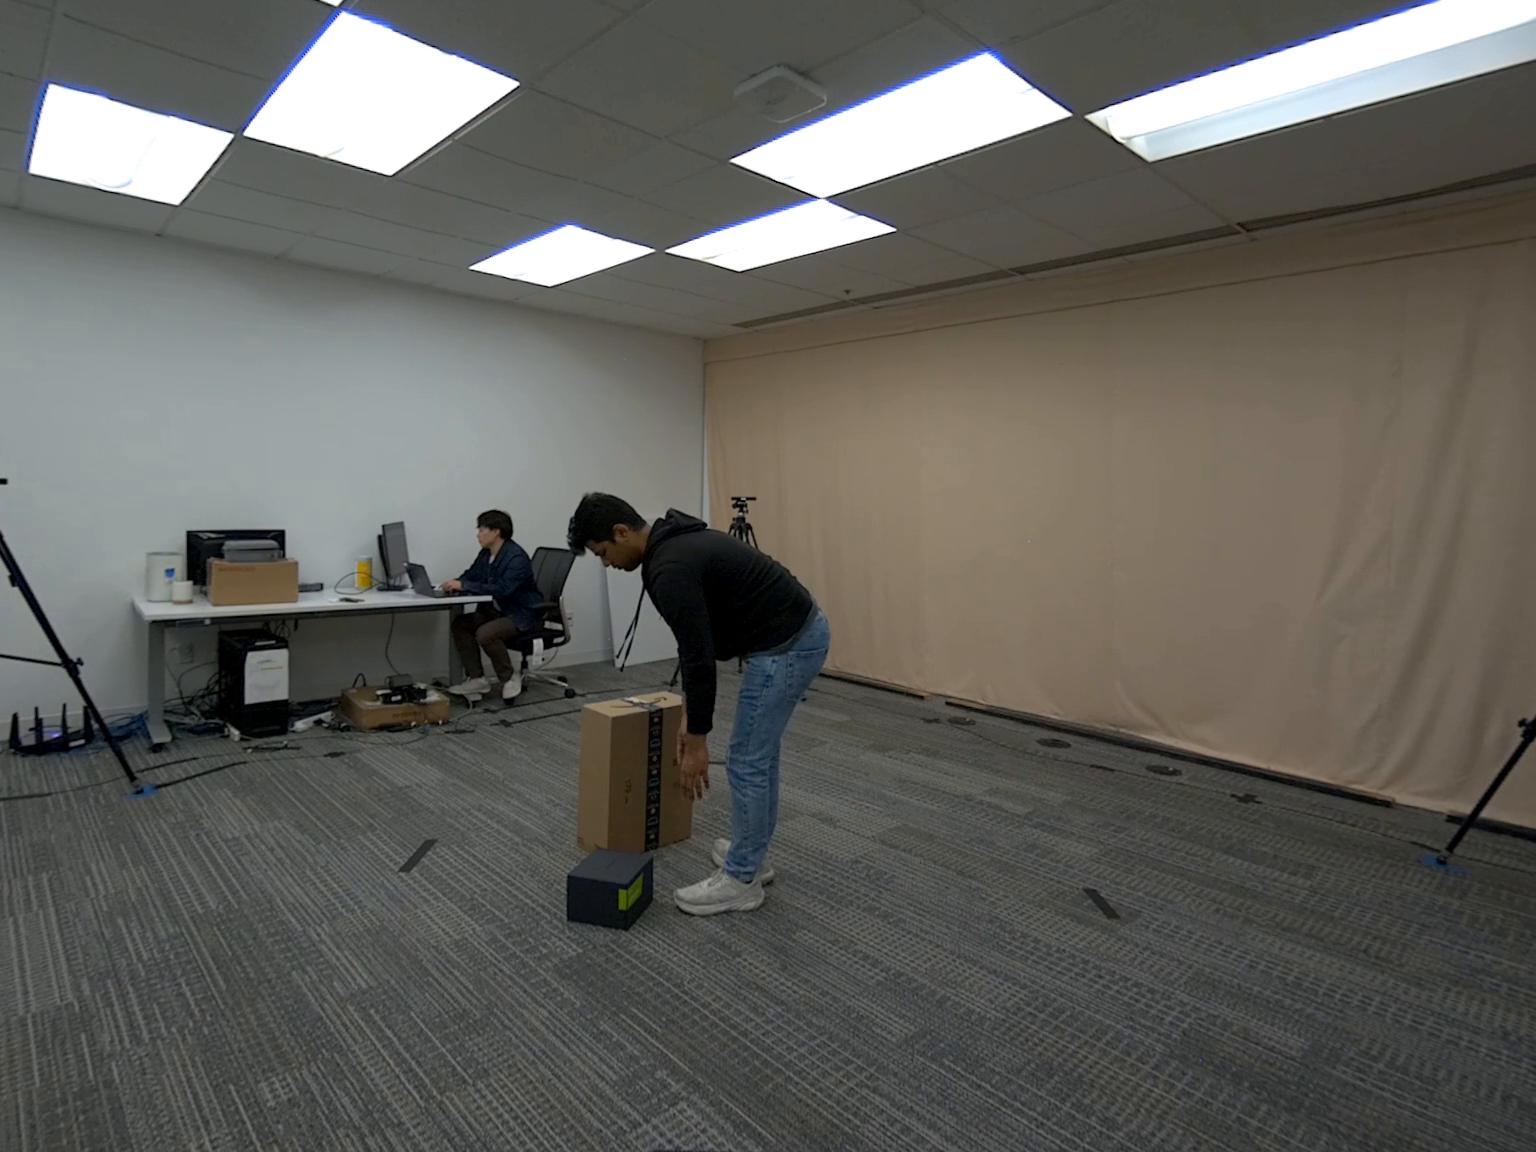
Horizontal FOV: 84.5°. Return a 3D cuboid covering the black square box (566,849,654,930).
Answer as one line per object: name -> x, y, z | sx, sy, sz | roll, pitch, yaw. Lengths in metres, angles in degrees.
black square box -> -0.542, 1.041, 2.818 | 0.220, 0.155, 0.226 | 2, 5, 15
